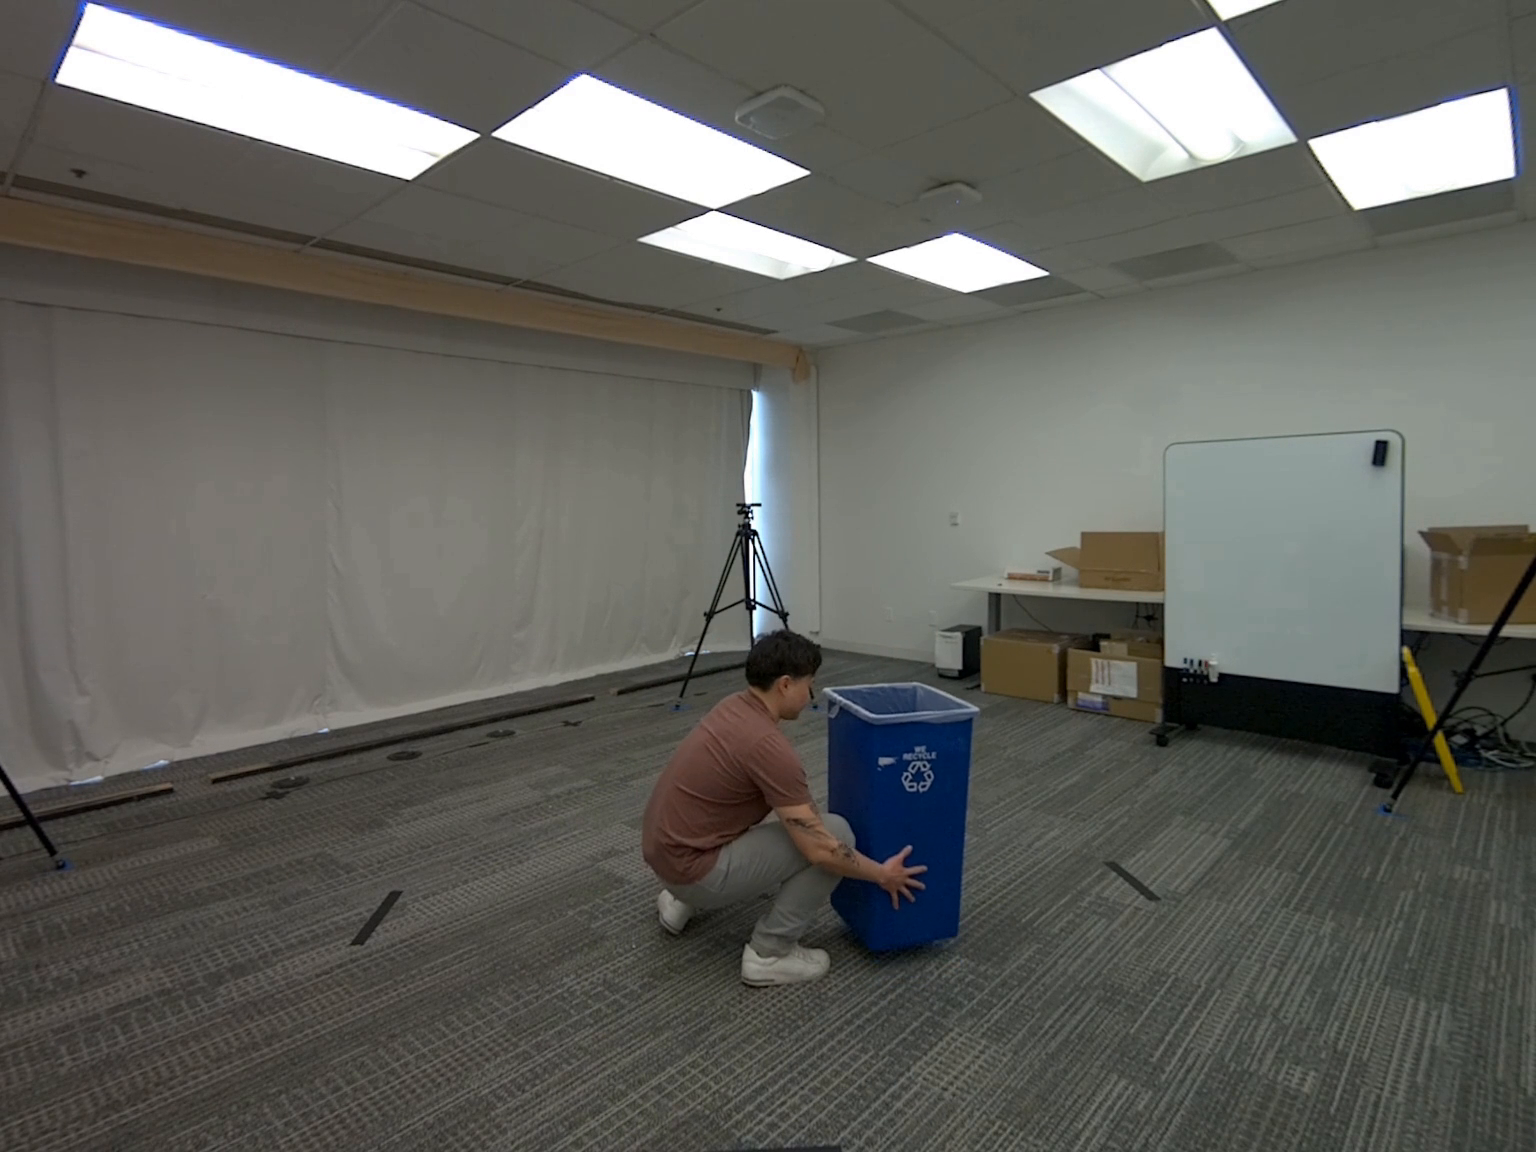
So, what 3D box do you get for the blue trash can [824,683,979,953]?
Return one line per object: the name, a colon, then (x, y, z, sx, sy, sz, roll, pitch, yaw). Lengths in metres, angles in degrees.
blue trash can: (0.408, 0.722, 2.635, 0.367, 0.711, 0.386, -1, 5, -20)
